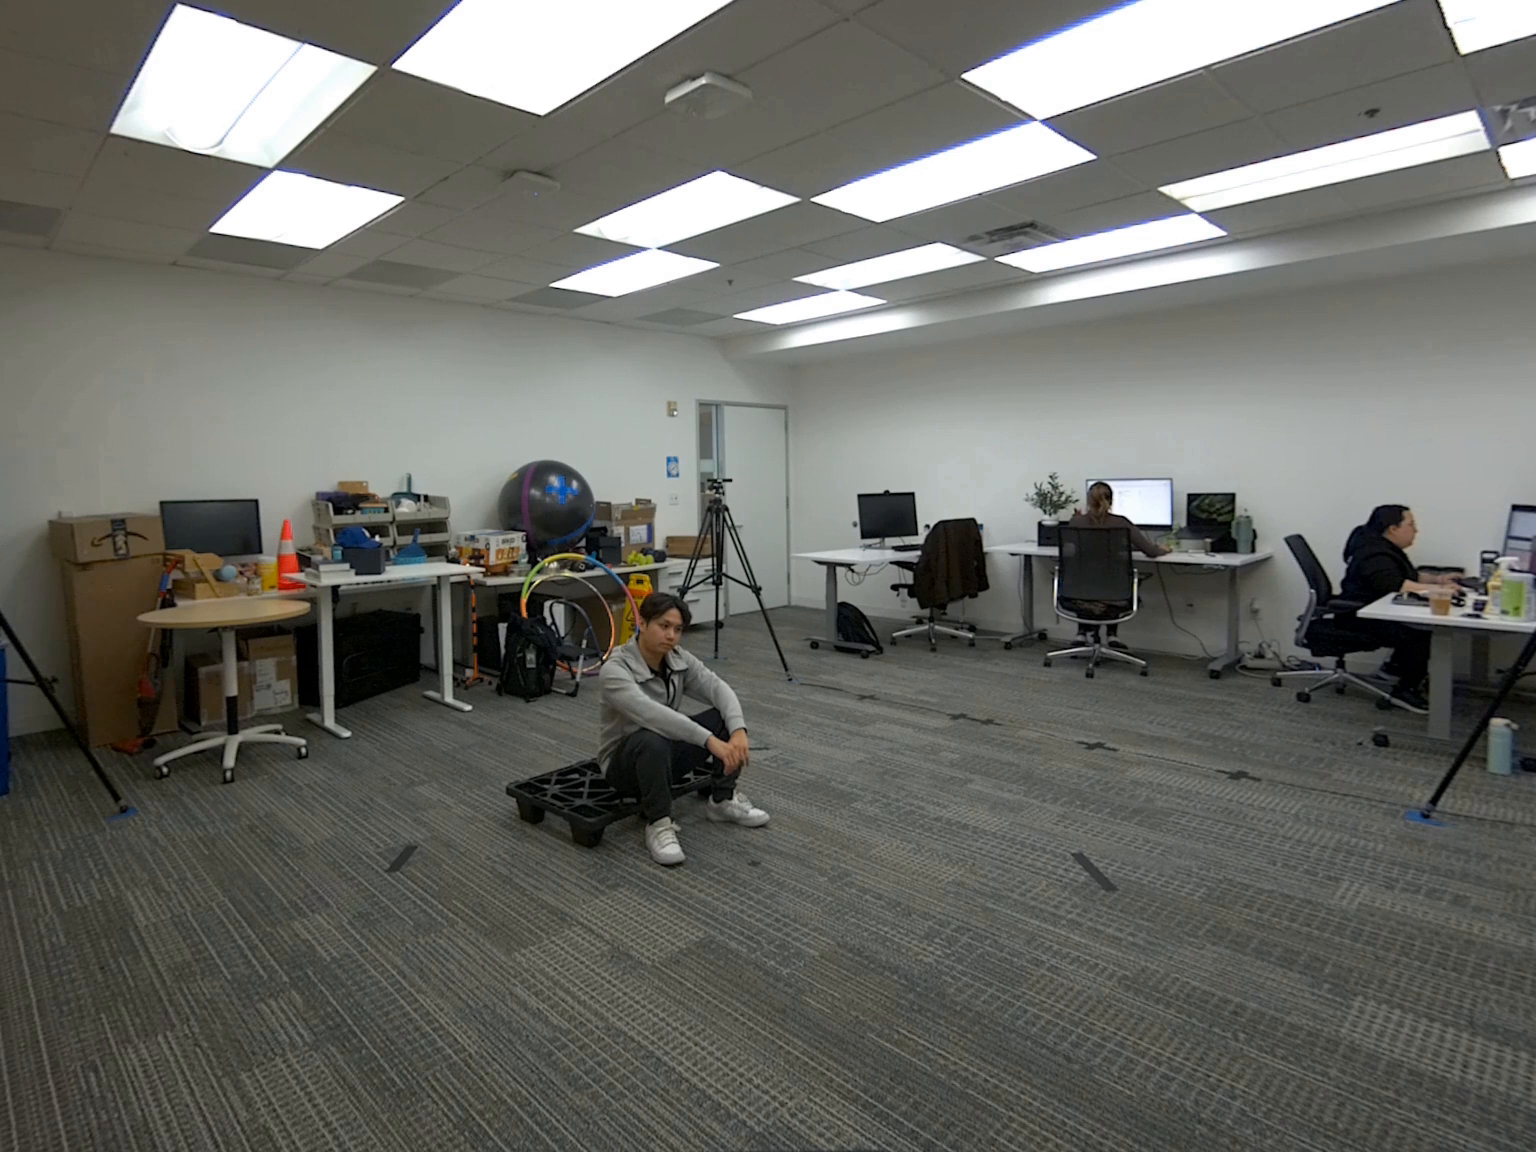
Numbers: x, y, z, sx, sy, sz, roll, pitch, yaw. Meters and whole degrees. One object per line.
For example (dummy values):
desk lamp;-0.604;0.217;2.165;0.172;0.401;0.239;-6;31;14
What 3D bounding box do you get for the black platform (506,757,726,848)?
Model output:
black platform;-0.610;0.924;3.667;0.624;0.142;0.785;5;9;42
